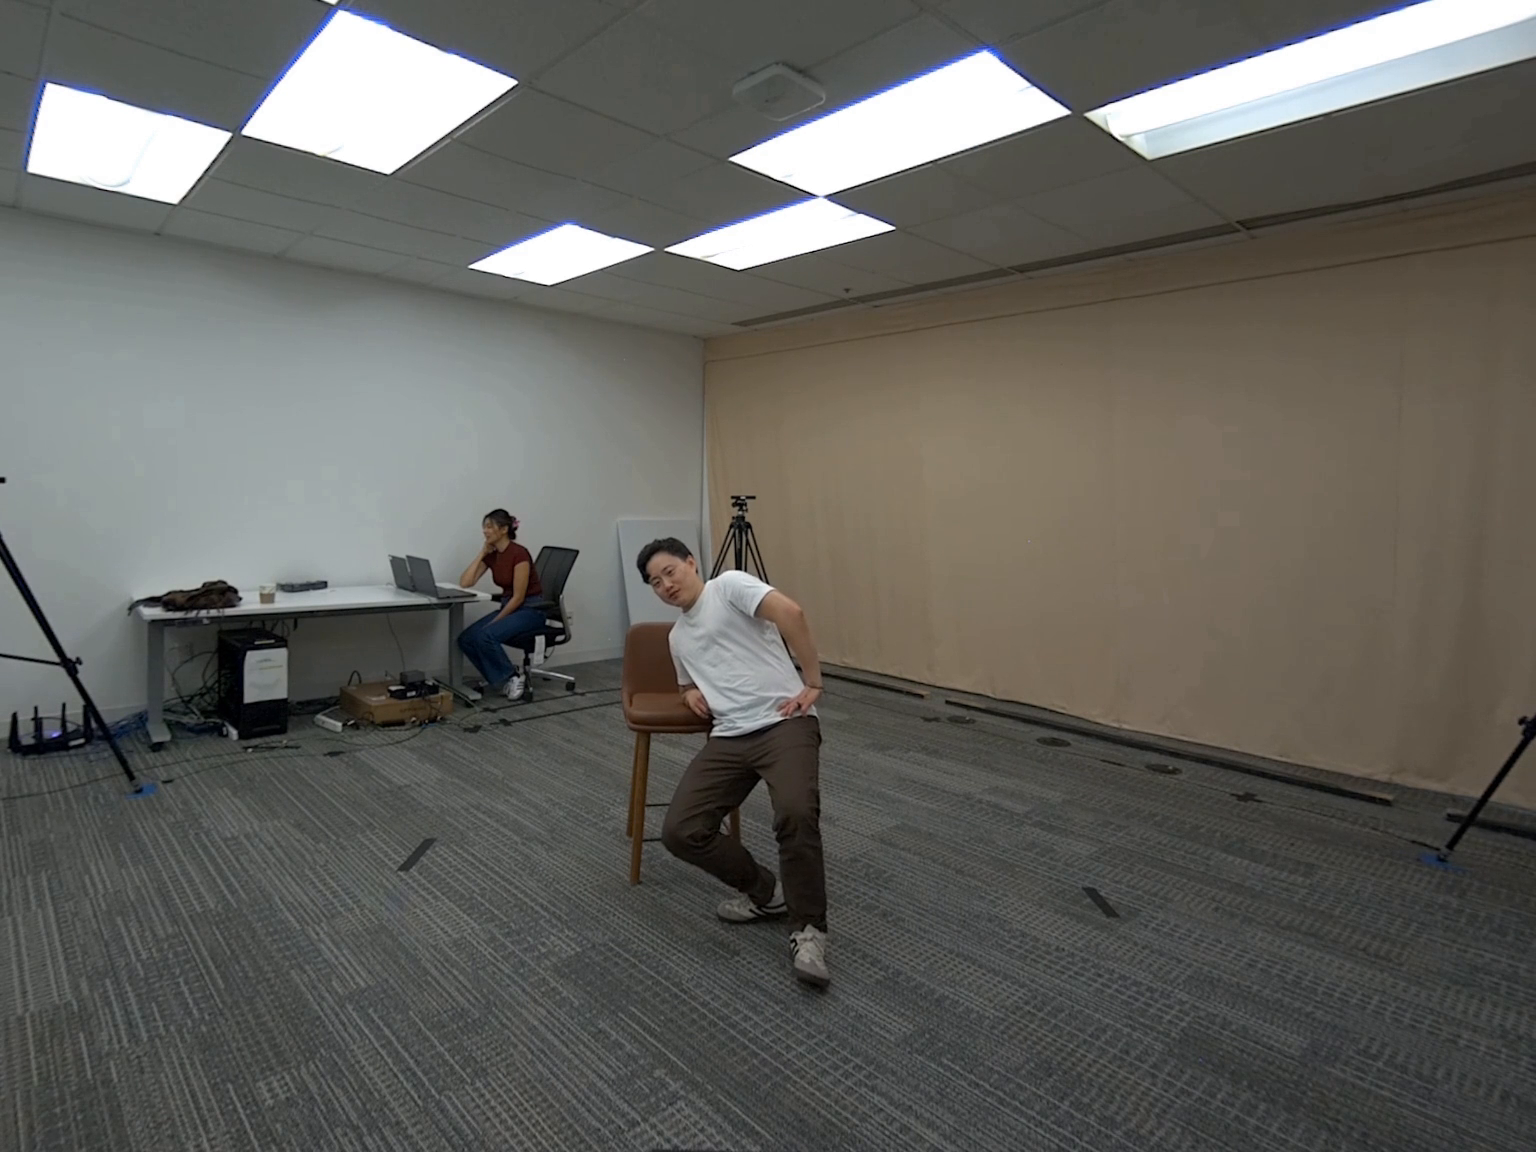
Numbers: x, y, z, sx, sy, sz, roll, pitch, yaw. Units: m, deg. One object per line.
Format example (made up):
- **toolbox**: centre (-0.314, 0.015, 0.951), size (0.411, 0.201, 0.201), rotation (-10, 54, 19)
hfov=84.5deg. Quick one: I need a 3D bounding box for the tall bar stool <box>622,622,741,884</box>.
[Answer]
- **tall bar stool**: centre (-0.342, 0.650, 3.244), size (0.452, 0.888, 0.473), rotation (1, 2, -13)
